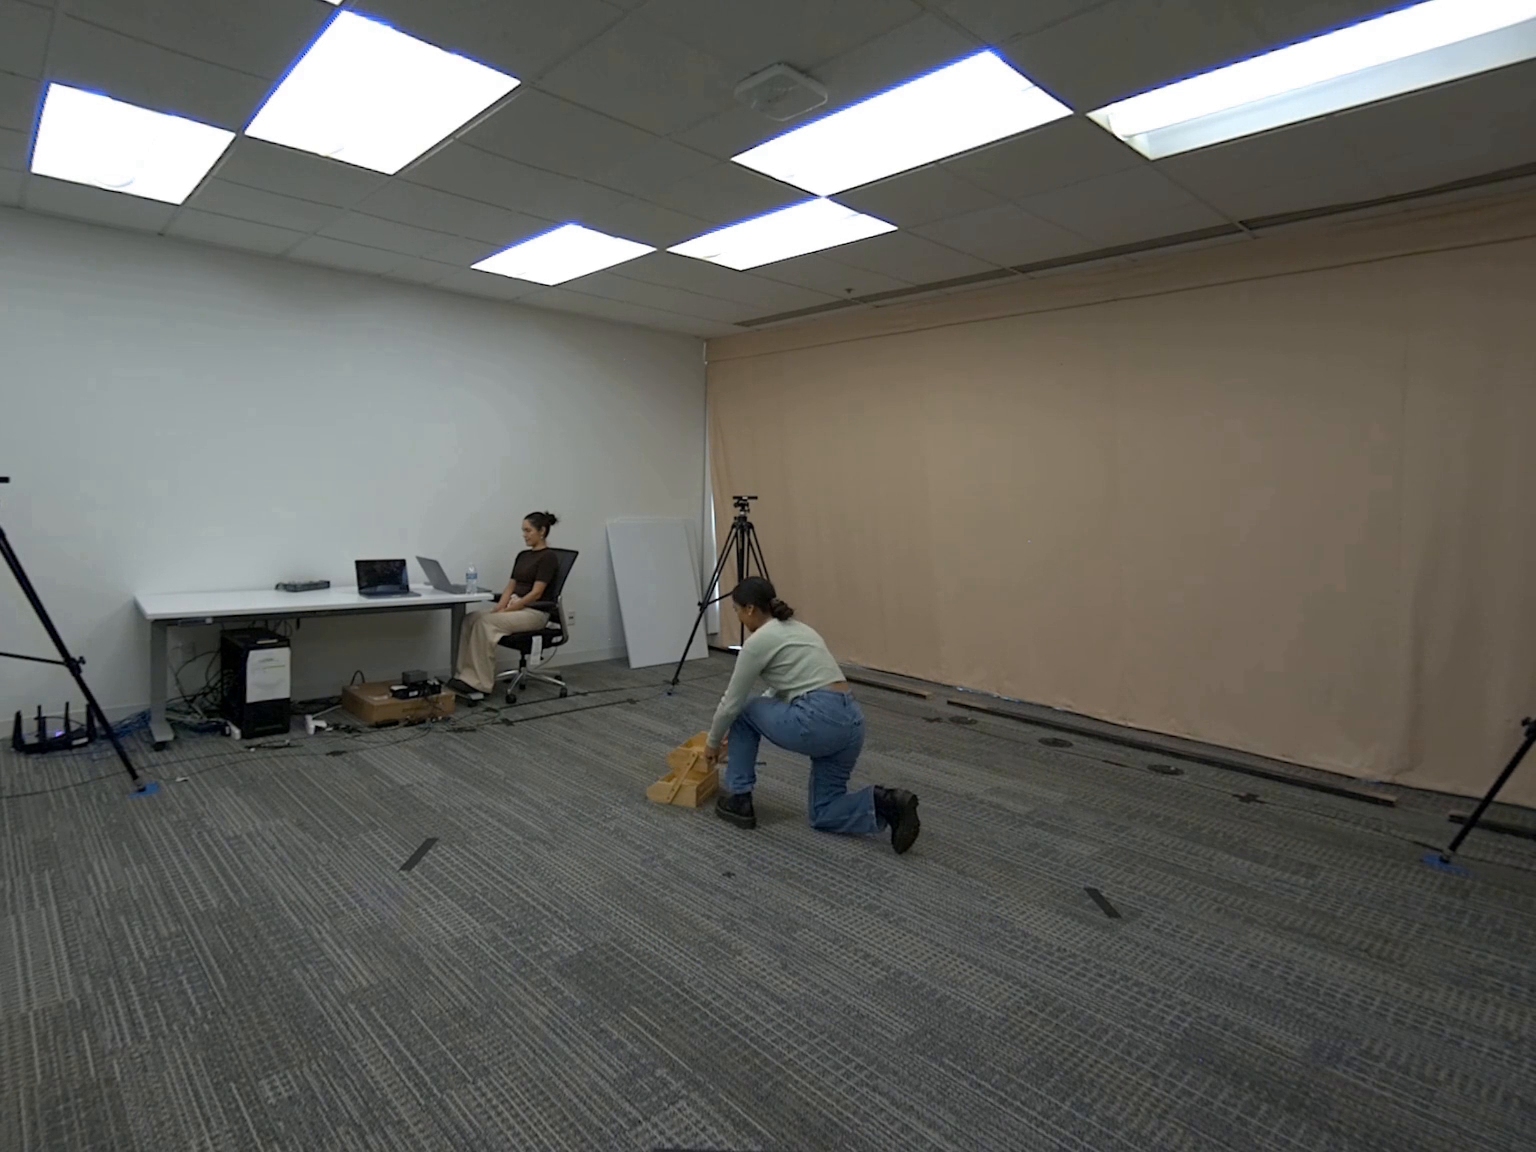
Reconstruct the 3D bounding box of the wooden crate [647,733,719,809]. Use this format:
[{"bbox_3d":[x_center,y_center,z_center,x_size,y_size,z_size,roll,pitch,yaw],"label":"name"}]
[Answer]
[{"bbox_3d":[-0.385,0.890,3.951,0.307,0.272,0.320,5,5,18],"label":"wooden crate"}]
